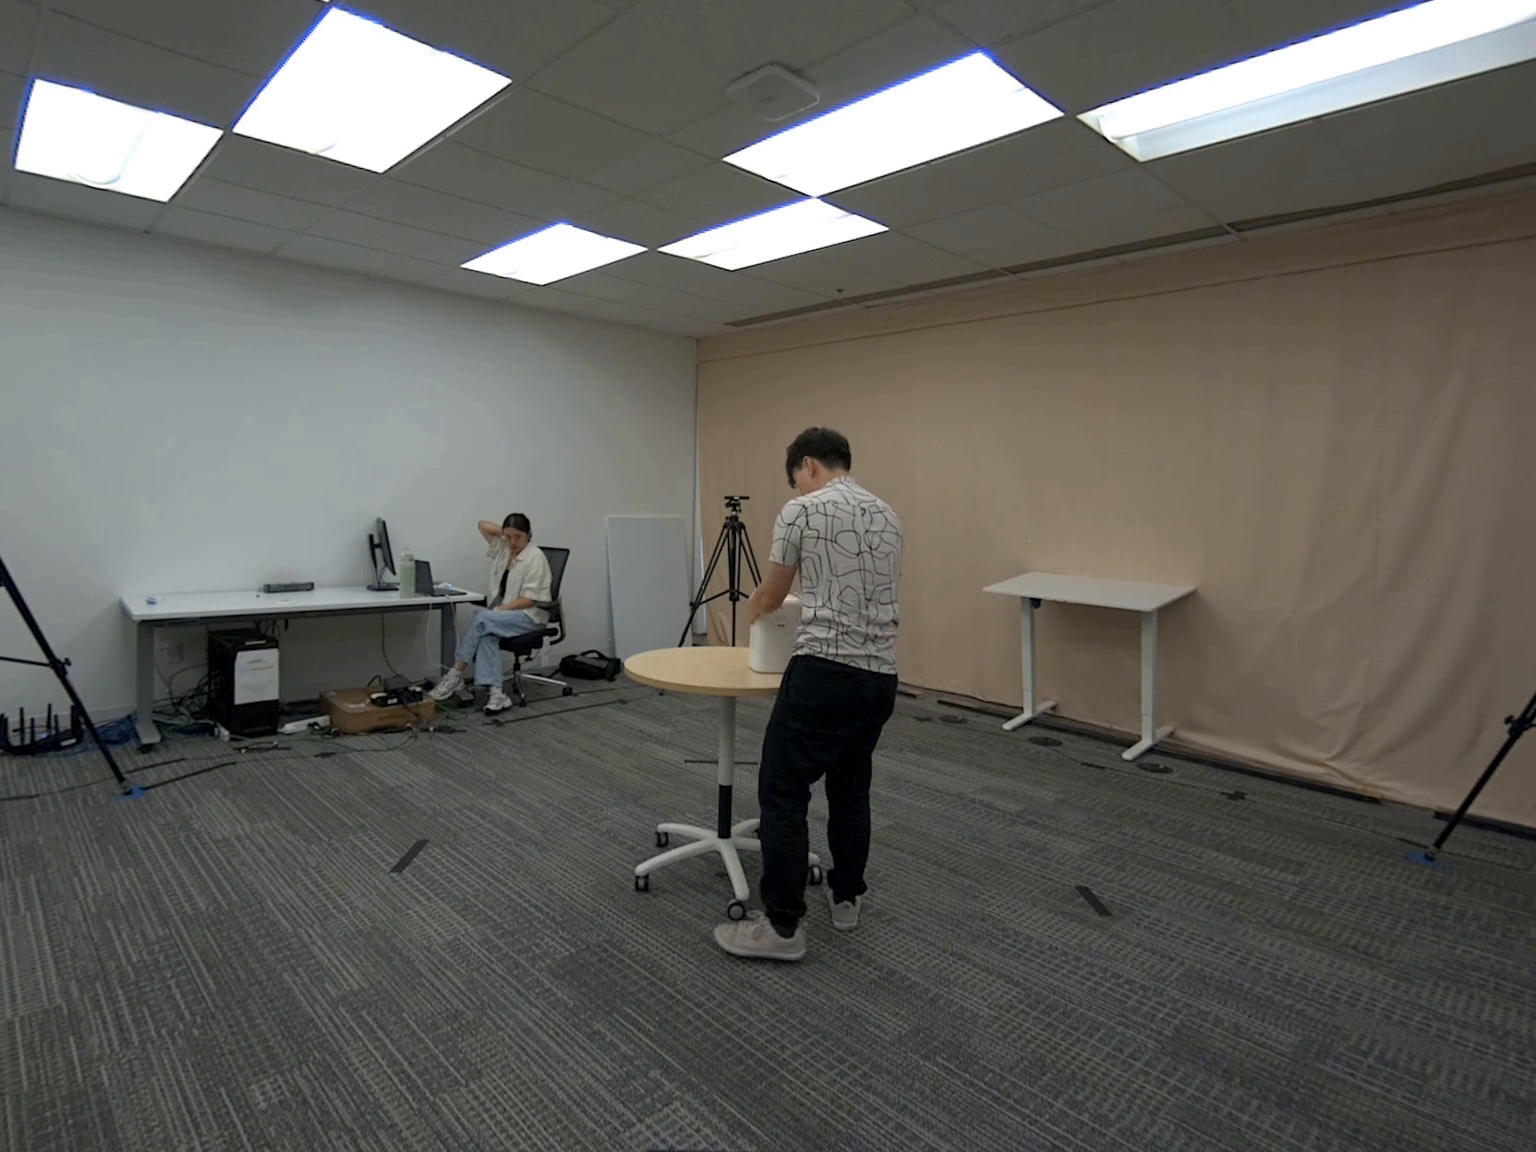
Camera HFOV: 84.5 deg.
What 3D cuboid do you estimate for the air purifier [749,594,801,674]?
[{"bbox_3d":[0.019,0.203,3.023,0.170,0.264,0.173,3,5,-7],"label":"air purifier"}]
